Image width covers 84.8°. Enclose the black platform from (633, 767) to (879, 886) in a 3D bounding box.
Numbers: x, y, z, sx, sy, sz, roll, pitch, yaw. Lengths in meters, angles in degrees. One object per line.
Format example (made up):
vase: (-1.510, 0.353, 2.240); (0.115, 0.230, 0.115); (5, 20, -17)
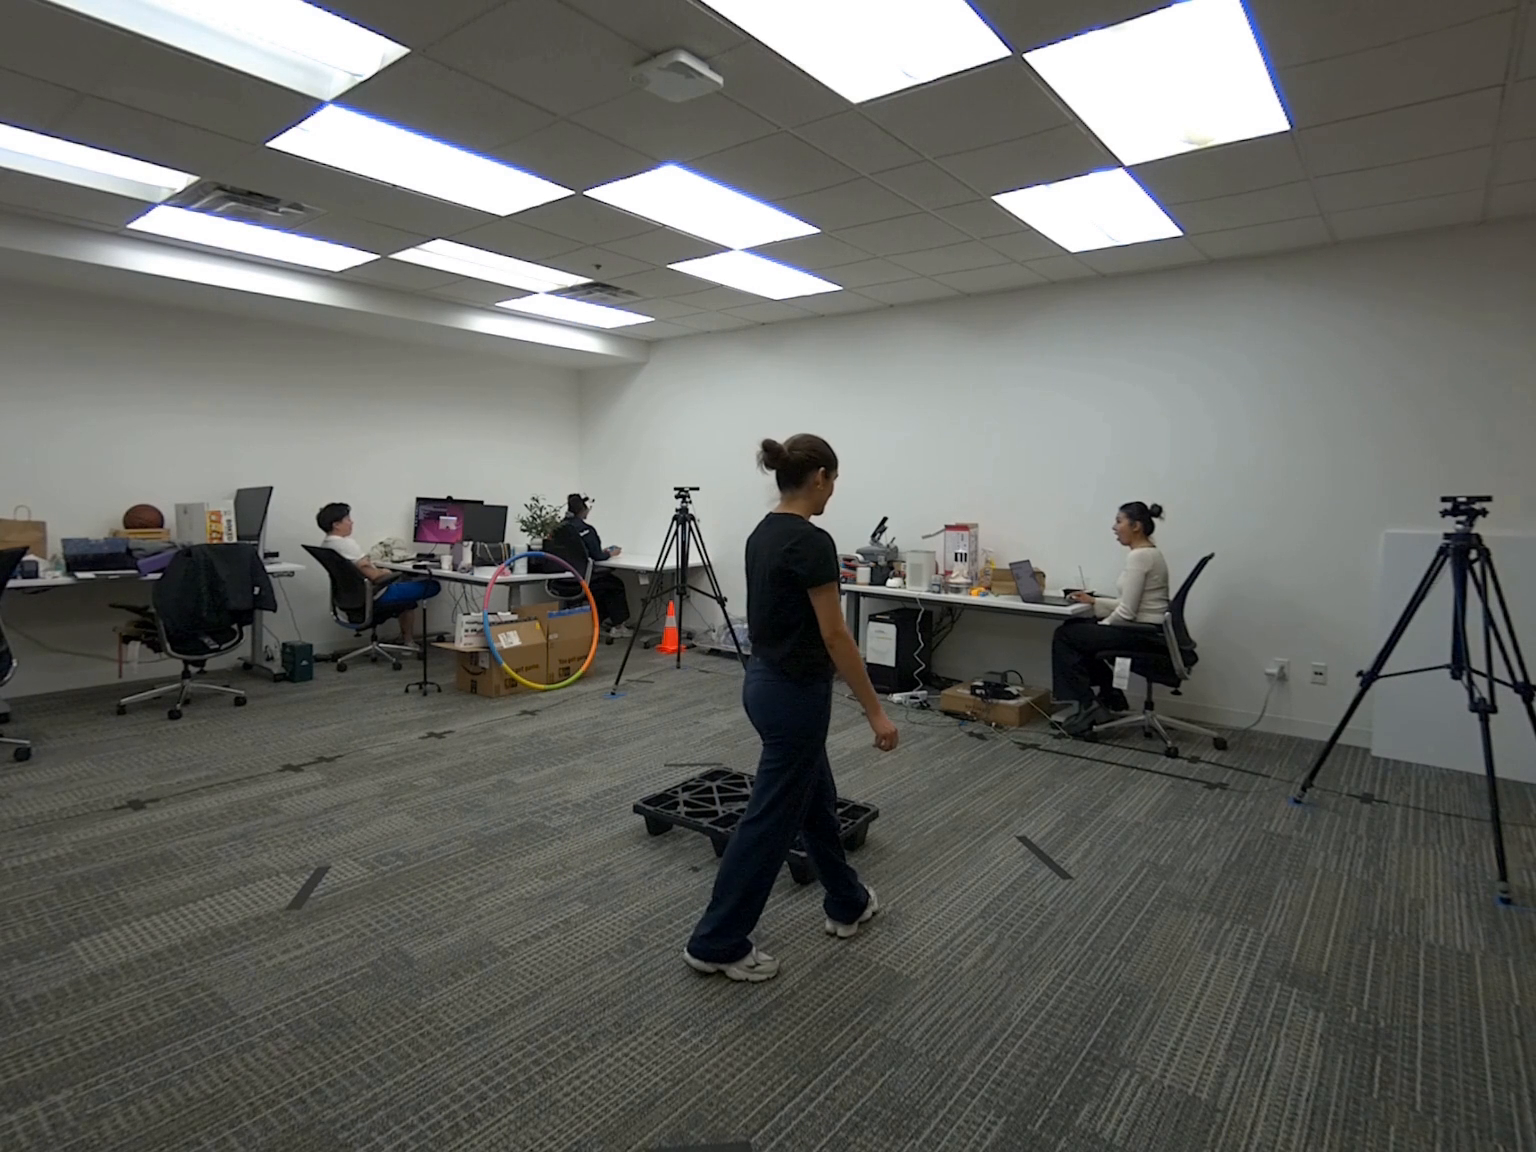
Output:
black platform: (-0.034, 0.973, 3.400); (0.832, 0.143, 0.588); (5, 6, 35)
